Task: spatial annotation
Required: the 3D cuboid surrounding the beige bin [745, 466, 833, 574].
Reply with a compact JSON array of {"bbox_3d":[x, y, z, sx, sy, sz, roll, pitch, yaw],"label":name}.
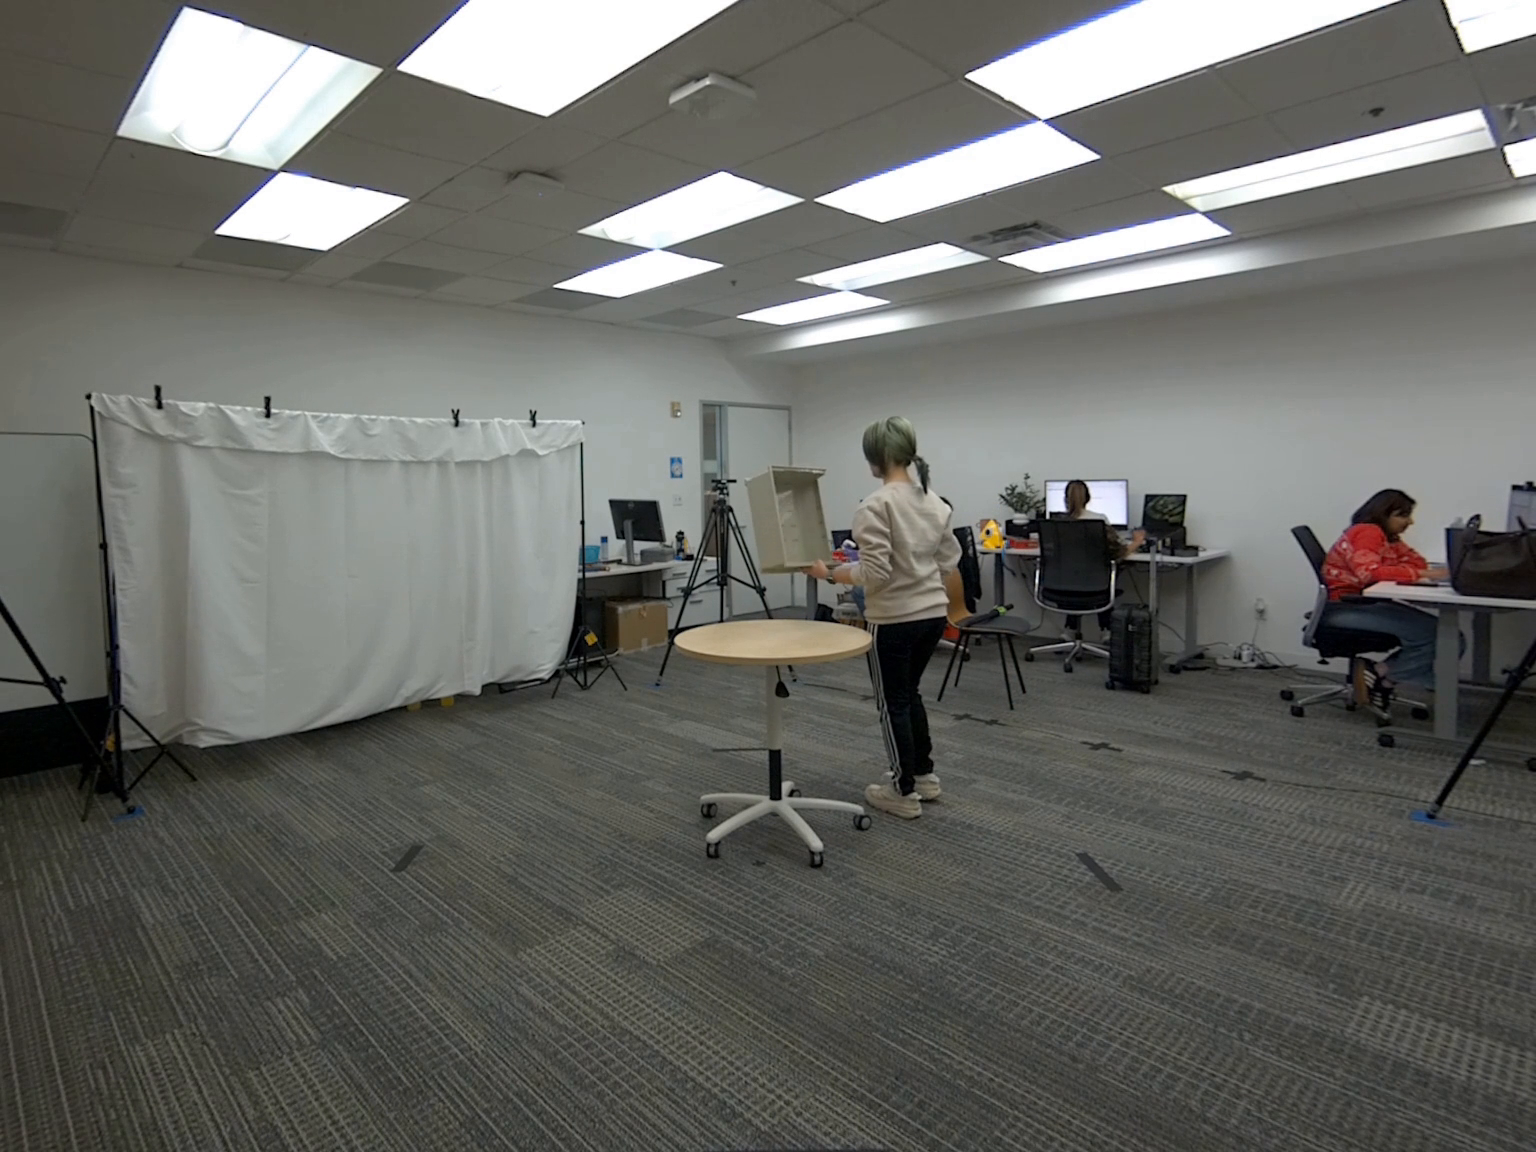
[{"bbox_3d":[0.119,-0.242,3.634,0.367,0.427,0.192,-1,-12,-40],"label":"beige bin"}]
